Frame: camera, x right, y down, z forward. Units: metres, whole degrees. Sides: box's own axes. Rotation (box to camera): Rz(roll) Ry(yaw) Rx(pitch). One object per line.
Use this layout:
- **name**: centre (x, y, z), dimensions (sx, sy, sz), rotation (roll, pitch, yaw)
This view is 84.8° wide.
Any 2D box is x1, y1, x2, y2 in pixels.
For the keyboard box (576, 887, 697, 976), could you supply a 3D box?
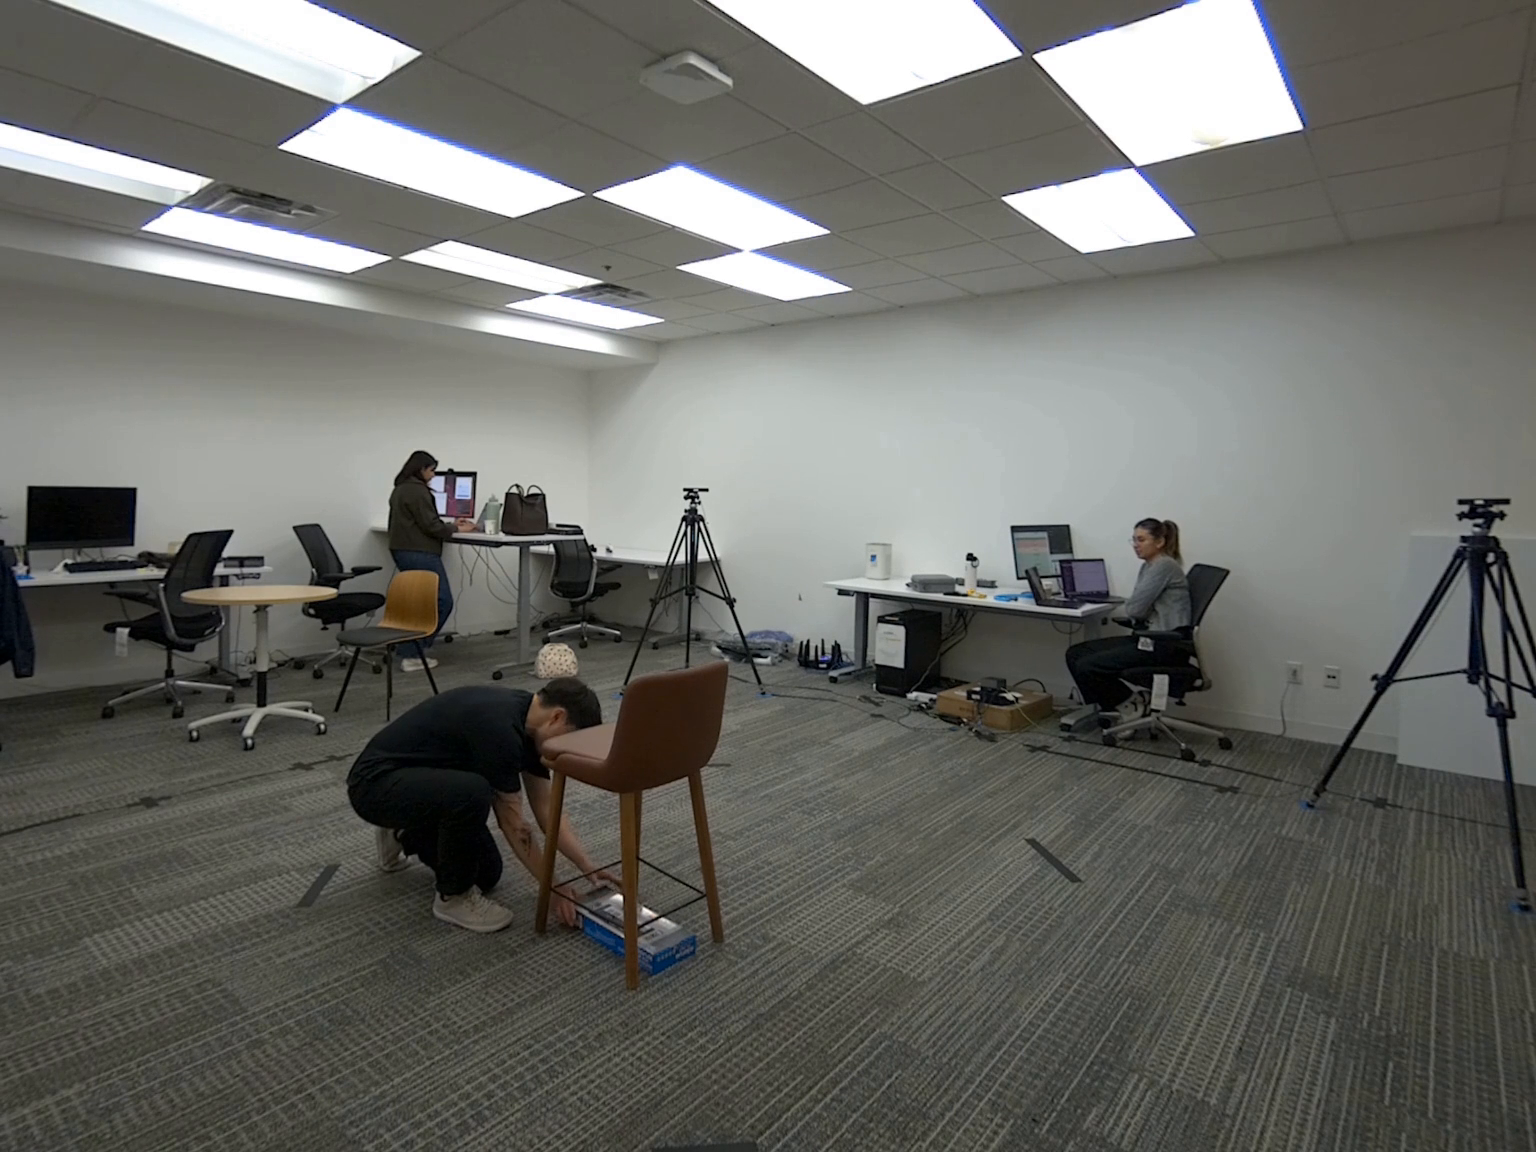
- **keyboard box**: centre (-0.445, 1.093, 2.624), dimensions (0.452, 0.059, 0.171), rotation (6, 8, 42)
